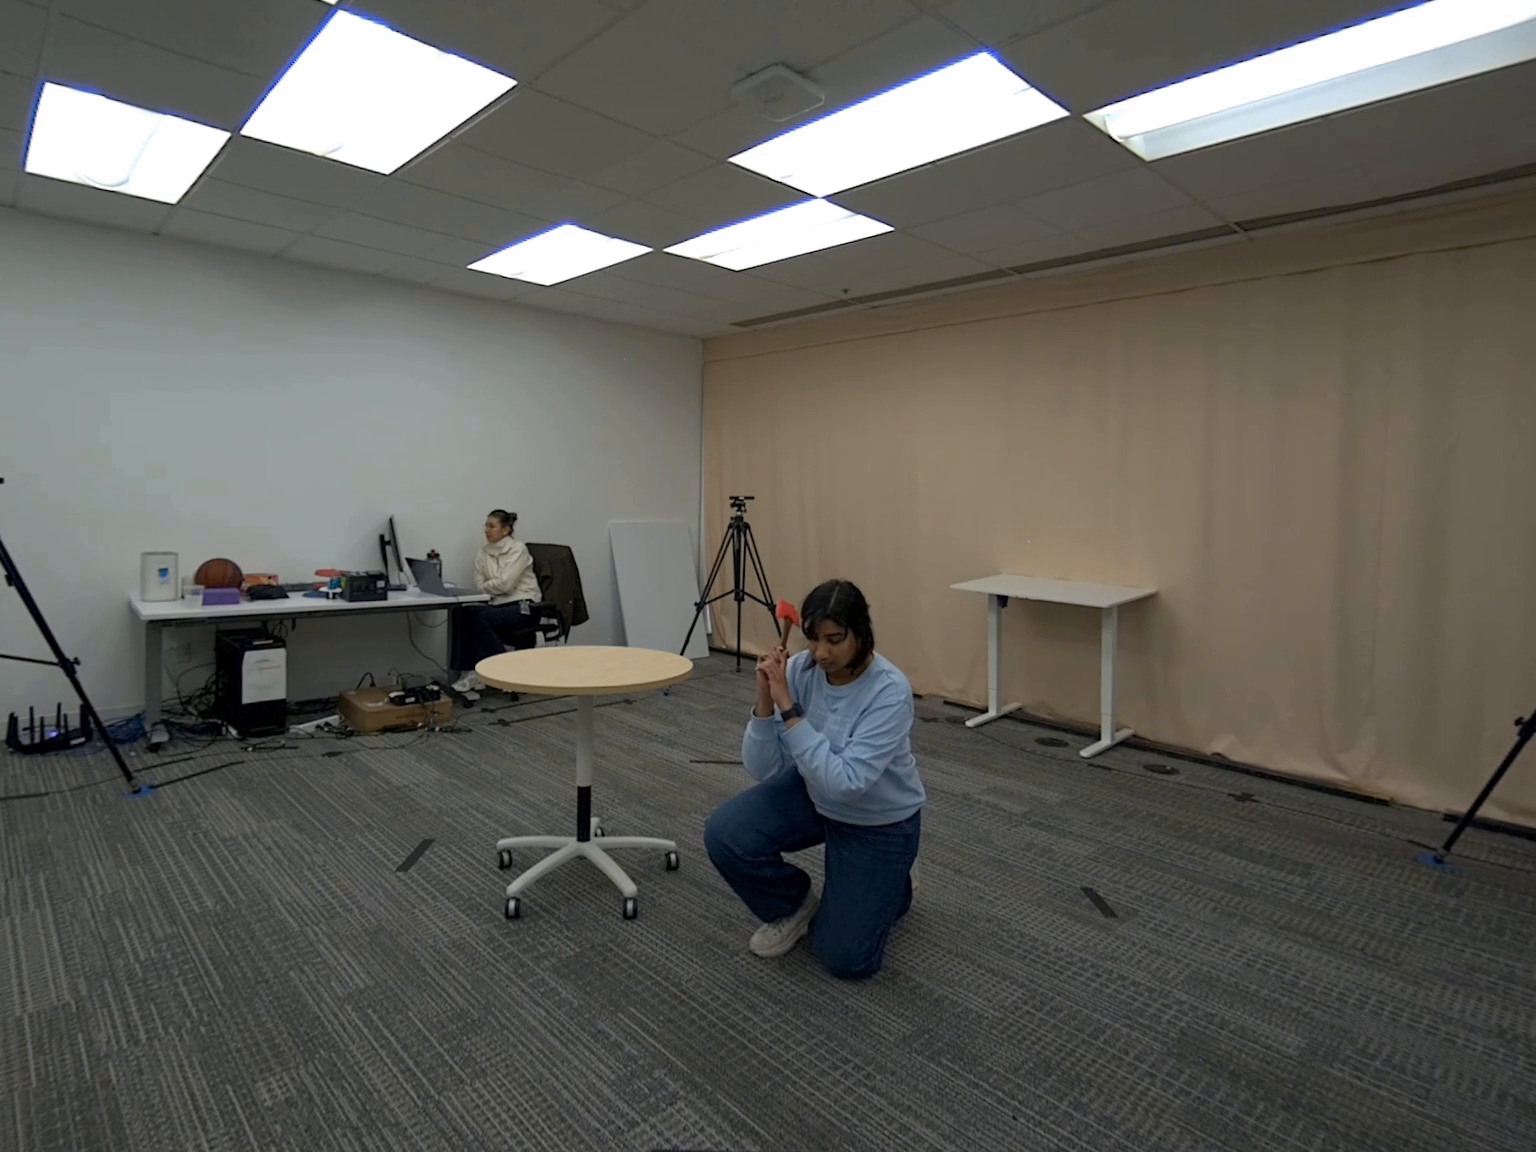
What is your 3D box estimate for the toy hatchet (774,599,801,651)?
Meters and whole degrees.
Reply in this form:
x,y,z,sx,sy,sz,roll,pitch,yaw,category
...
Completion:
x,y,z,sx,sy,sz,roll,pitch,yaw,category
0.018,0.162,2.398,0.030,0.128,0.271,-16,25,29,toy hatchet
